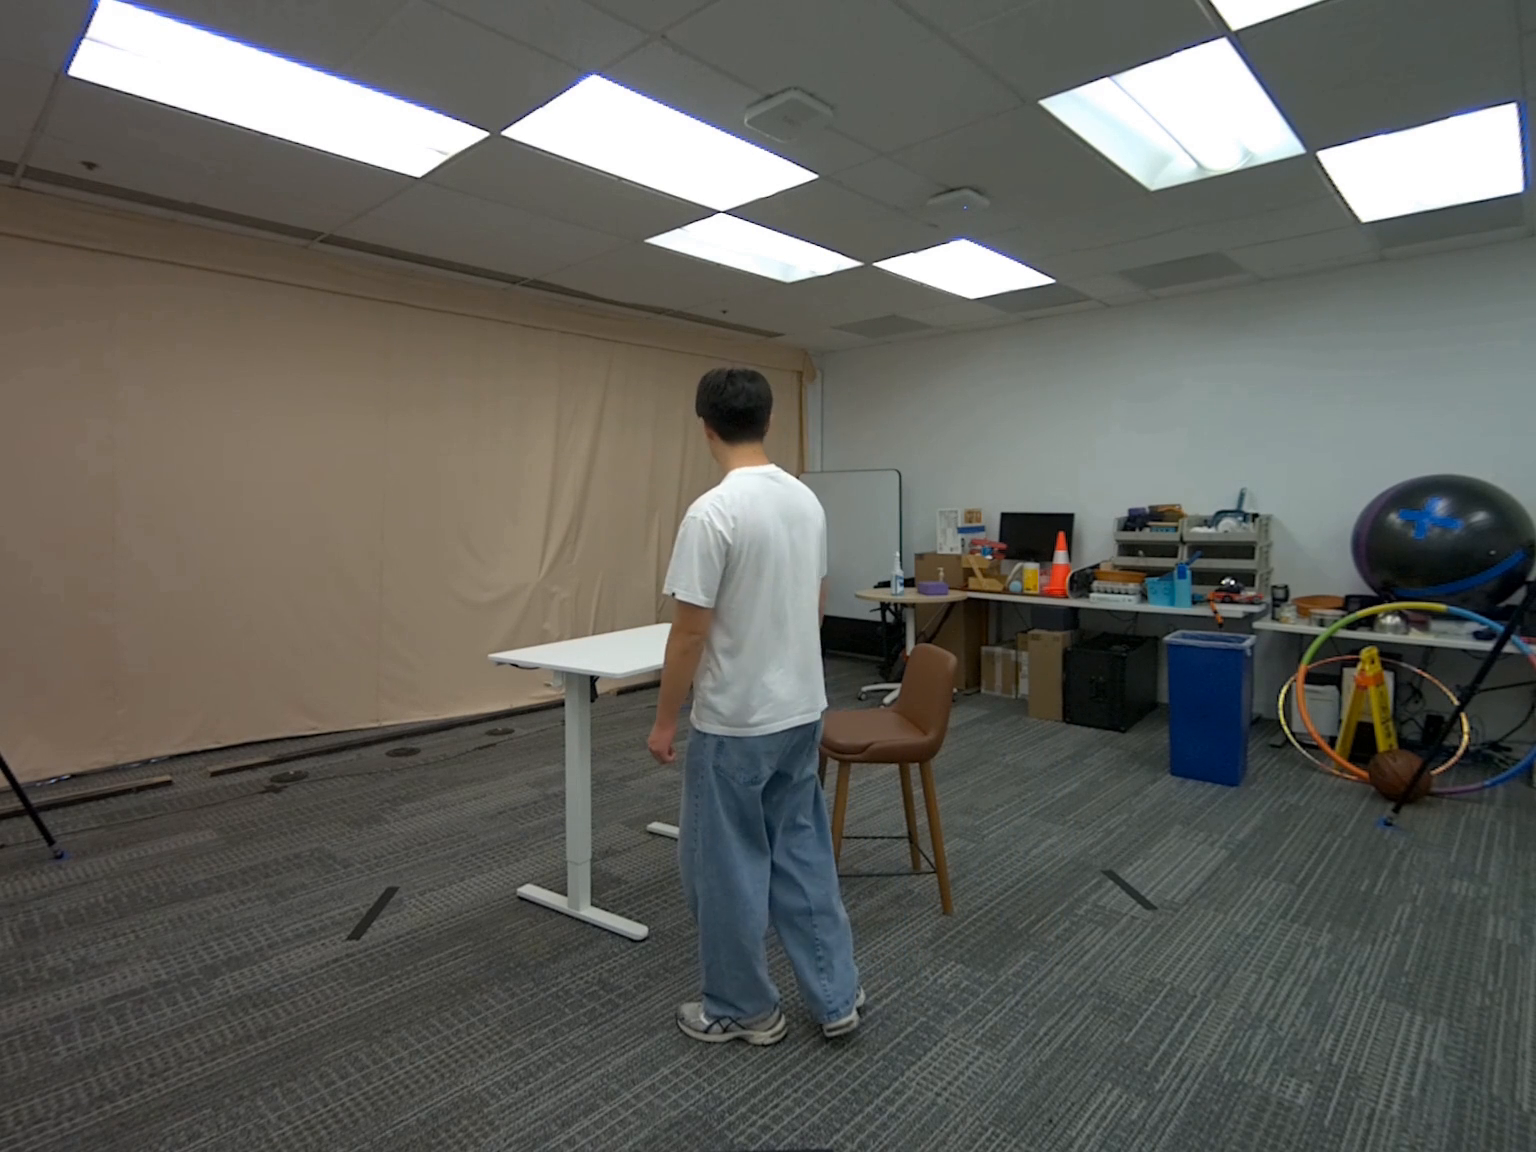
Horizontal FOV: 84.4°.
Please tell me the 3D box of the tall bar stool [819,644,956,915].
[{"bbox_3d":[0.396,0.707,2.996,0.464,0.888,0.461,2,3,-7],"label":"tall bar stool"}]
